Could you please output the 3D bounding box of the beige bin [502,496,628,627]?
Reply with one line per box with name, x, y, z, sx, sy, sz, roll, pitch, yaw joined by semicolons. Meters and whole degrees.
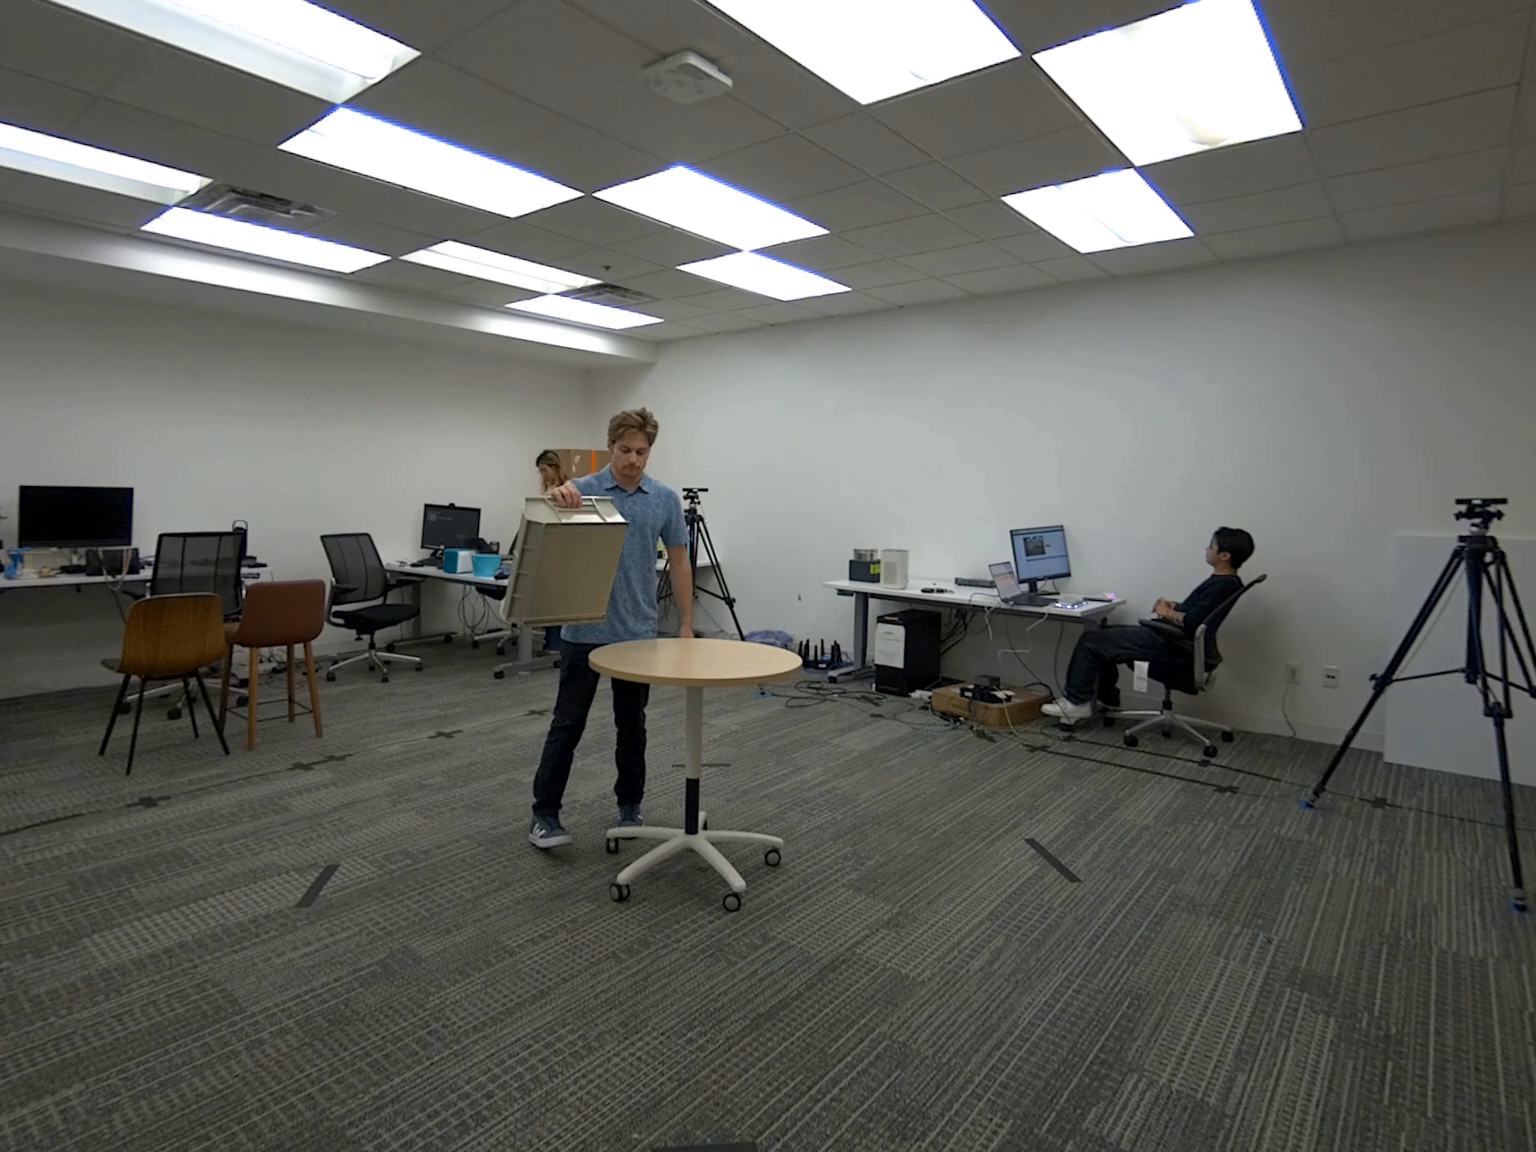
beige bin;-0.733;-0.054;2.970;0.366;0.417;0.197;-1;31;-36
